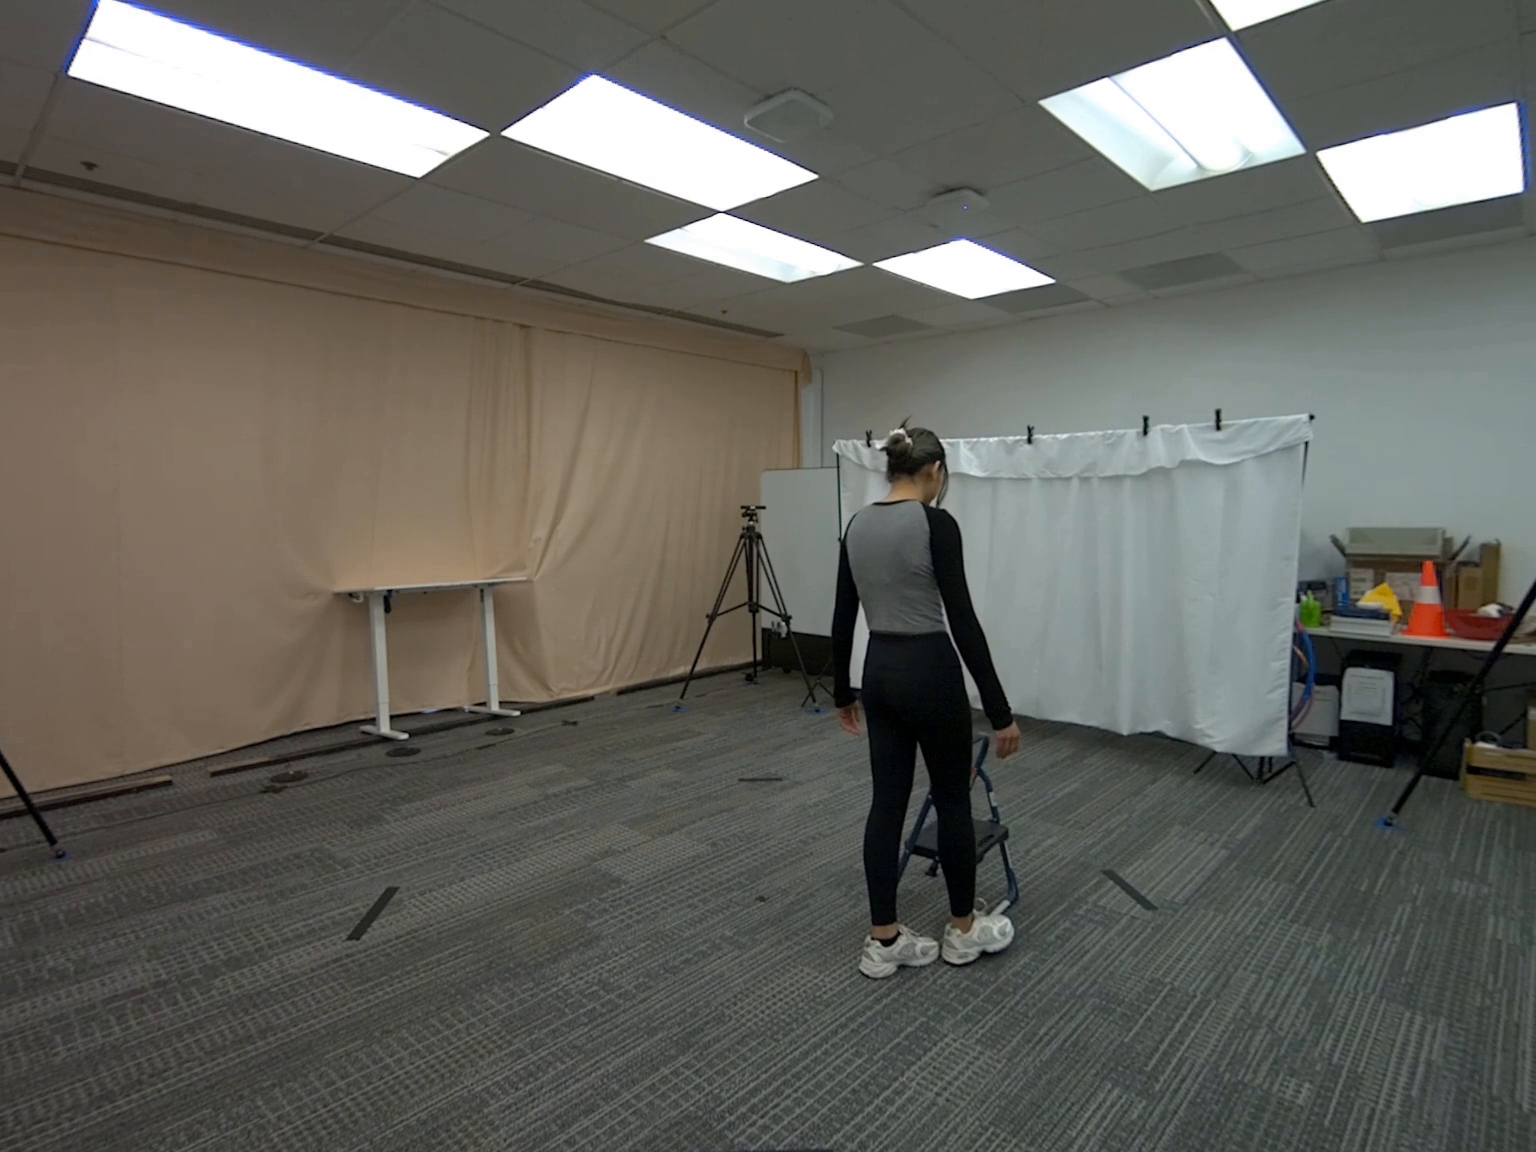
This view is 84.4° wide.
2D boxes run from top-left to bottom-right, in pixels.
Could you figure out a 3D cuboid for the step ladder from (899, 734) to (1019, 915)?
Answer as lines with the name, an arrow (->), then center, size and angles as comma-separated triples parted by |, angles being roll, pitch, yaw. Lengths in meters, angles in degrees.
step ladder -> 0.635, 0.847, 2.909 | 0.360, 0.604, 0.418 | 3, 5, 36
